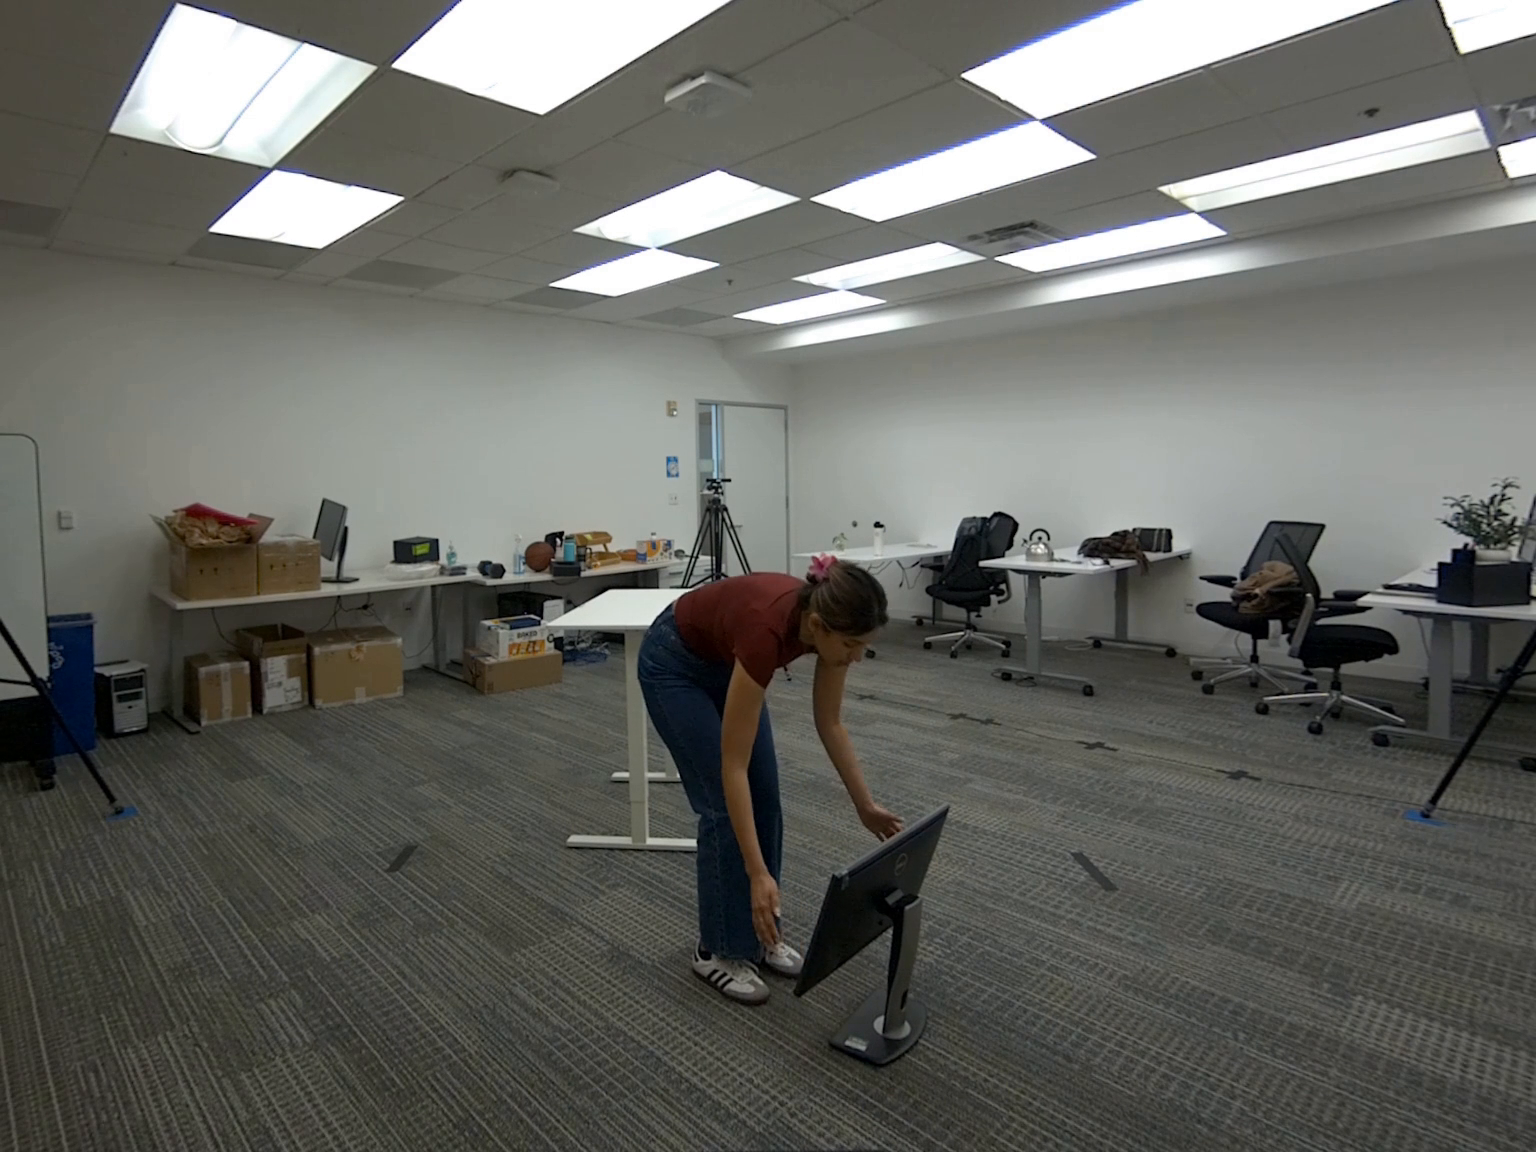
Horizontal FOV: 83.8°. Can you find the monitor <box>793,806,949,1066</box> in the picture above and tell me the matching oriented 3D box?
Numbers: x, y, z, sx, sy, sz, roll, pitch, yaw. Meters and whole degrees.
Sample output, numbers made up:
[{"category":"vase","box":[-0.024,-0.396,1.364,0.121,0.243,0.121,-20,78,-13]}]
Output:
[{"category":"monitor","box":[0.299,0.895,2.140,0.193,0.519,0.525,7,9,37]}]
